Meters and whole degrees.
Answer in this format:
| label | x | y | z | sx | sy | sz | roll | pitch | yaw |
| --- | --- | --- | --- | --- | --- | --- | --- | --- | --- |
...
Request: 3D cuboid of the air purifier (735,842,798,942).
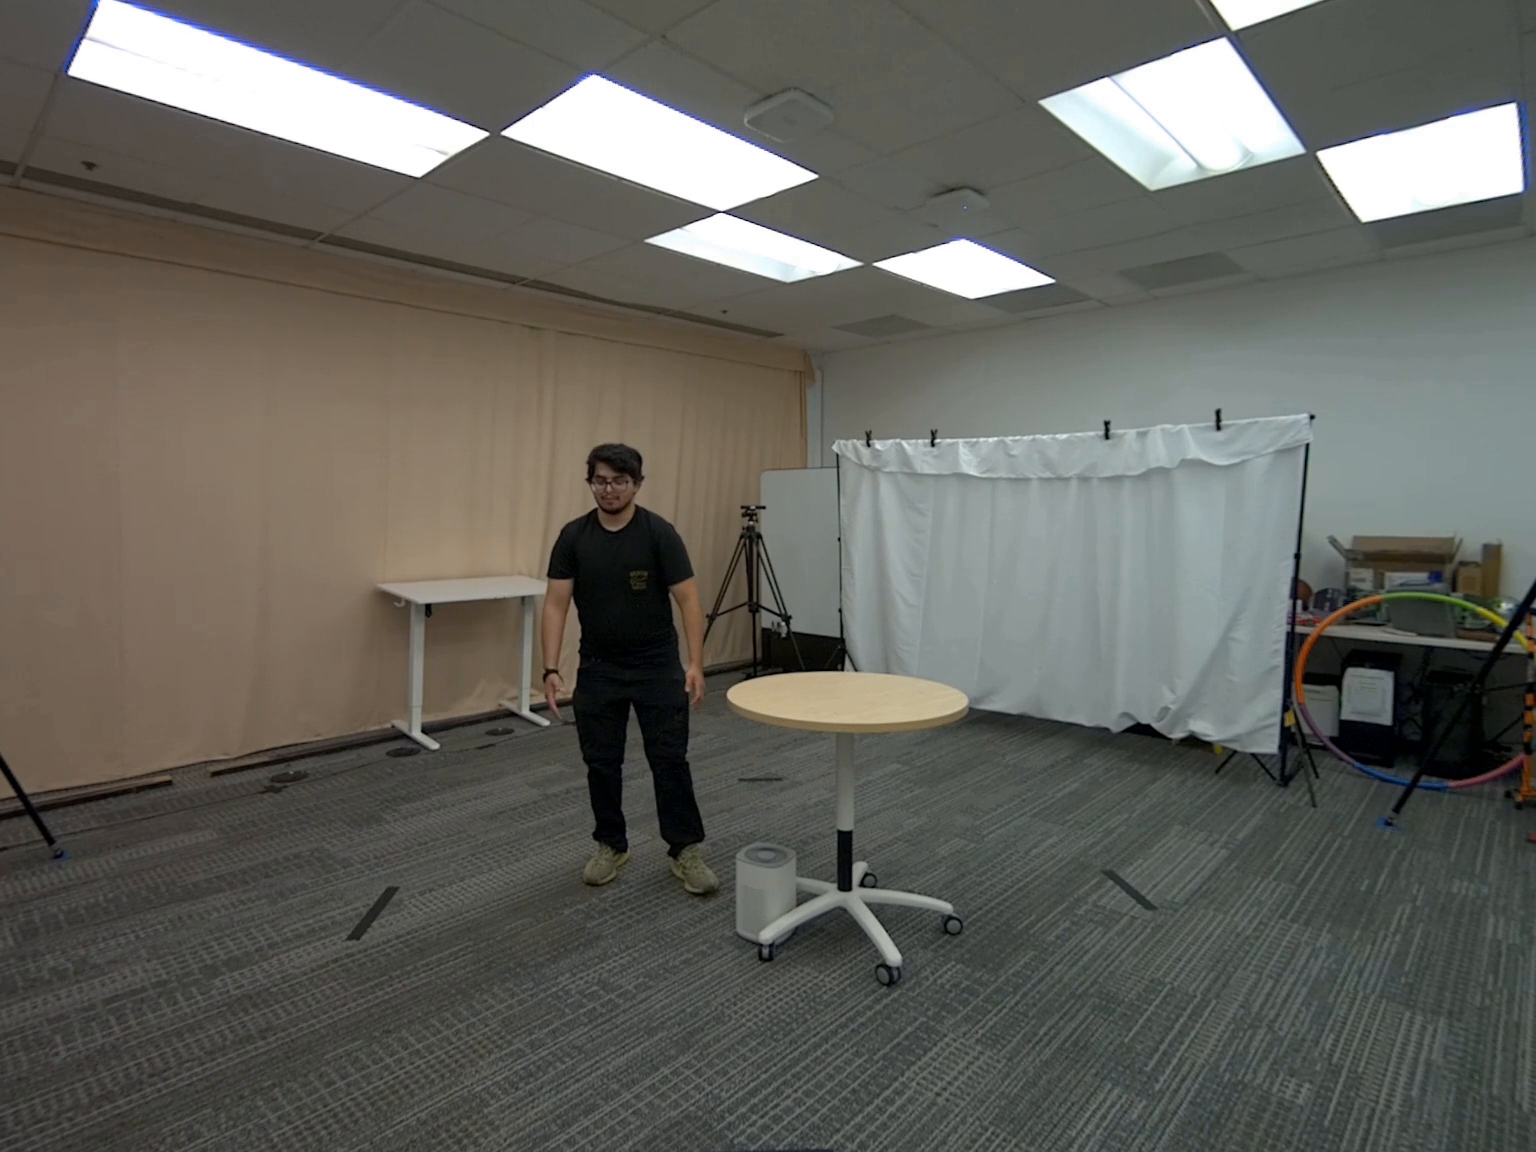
| label | x | y | z | sx | sy | sz | roll | pitch | yaw |
| --- | --- | --- | --- | --- | --- | --- | --- | --- | --- |
| air purifier | -0.005 | 1.033 | 2.728 | 0.177 | 0.265 | 0.166 | 2 | 4 | 31 |
